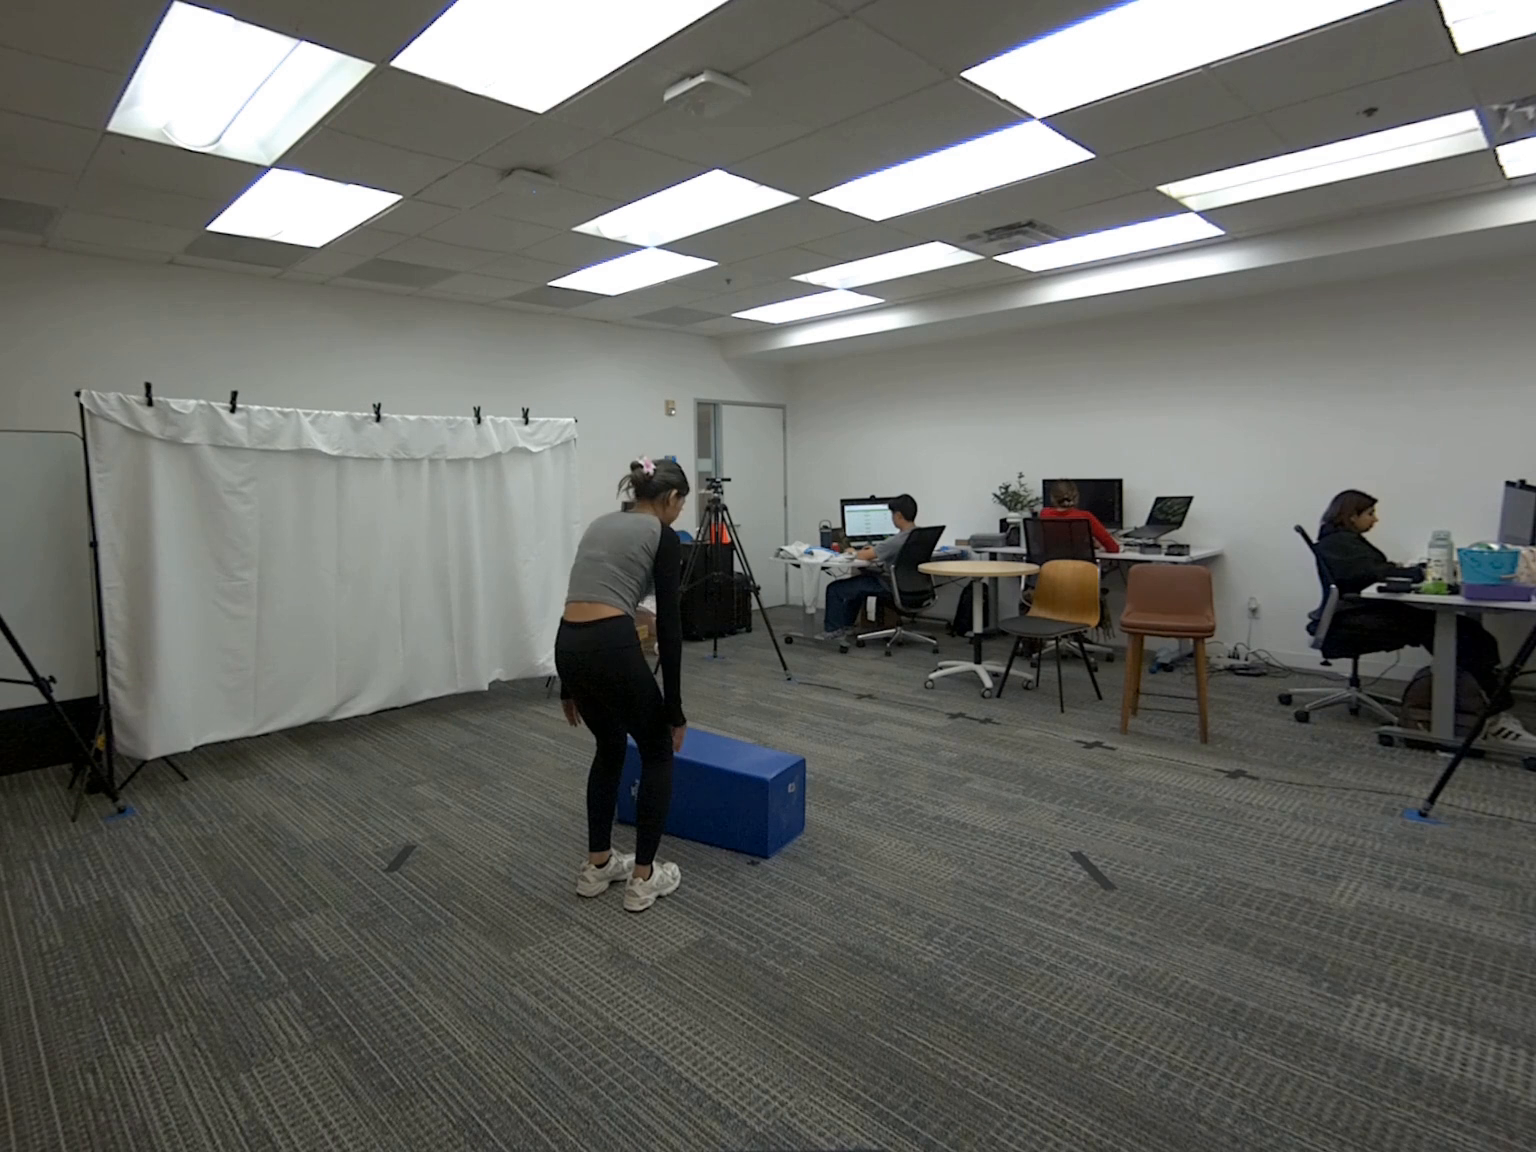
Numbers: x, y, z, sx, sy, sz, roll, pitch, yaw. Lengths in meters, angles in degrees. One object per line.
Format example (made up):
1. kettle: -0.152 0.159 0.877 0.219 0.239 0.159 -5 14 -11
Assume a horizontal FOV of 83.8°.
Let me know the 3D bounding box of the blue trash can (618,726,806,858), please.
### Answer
1. blue trash can: -0.234 0.840 3.424 0.734 0.376 0.365 5 6 32
